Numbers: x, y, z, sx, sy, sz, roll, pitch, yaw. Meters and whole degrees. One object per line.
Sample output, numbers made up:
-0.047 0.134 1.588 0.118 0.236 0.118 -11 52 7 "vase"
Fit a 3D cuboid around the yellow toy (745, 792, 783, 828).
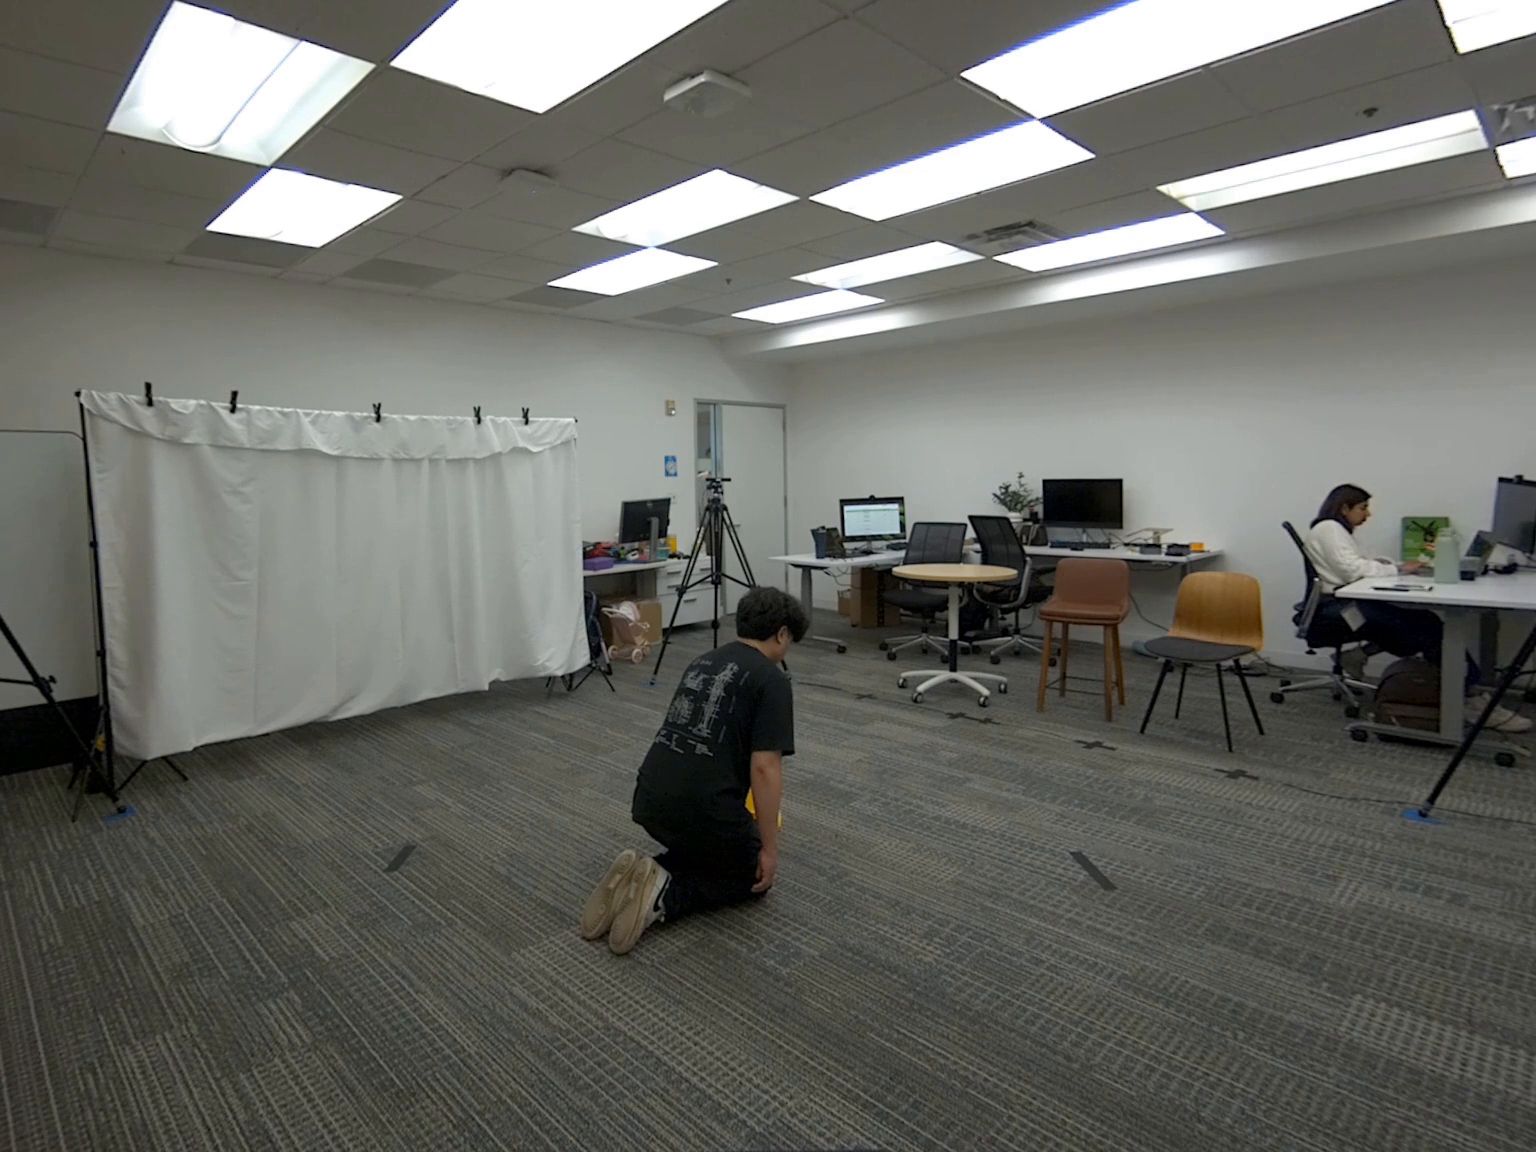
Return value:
-0.041 0.890 3.456 0.206 0.229 0.193 0 6 6 "yellow toy"
